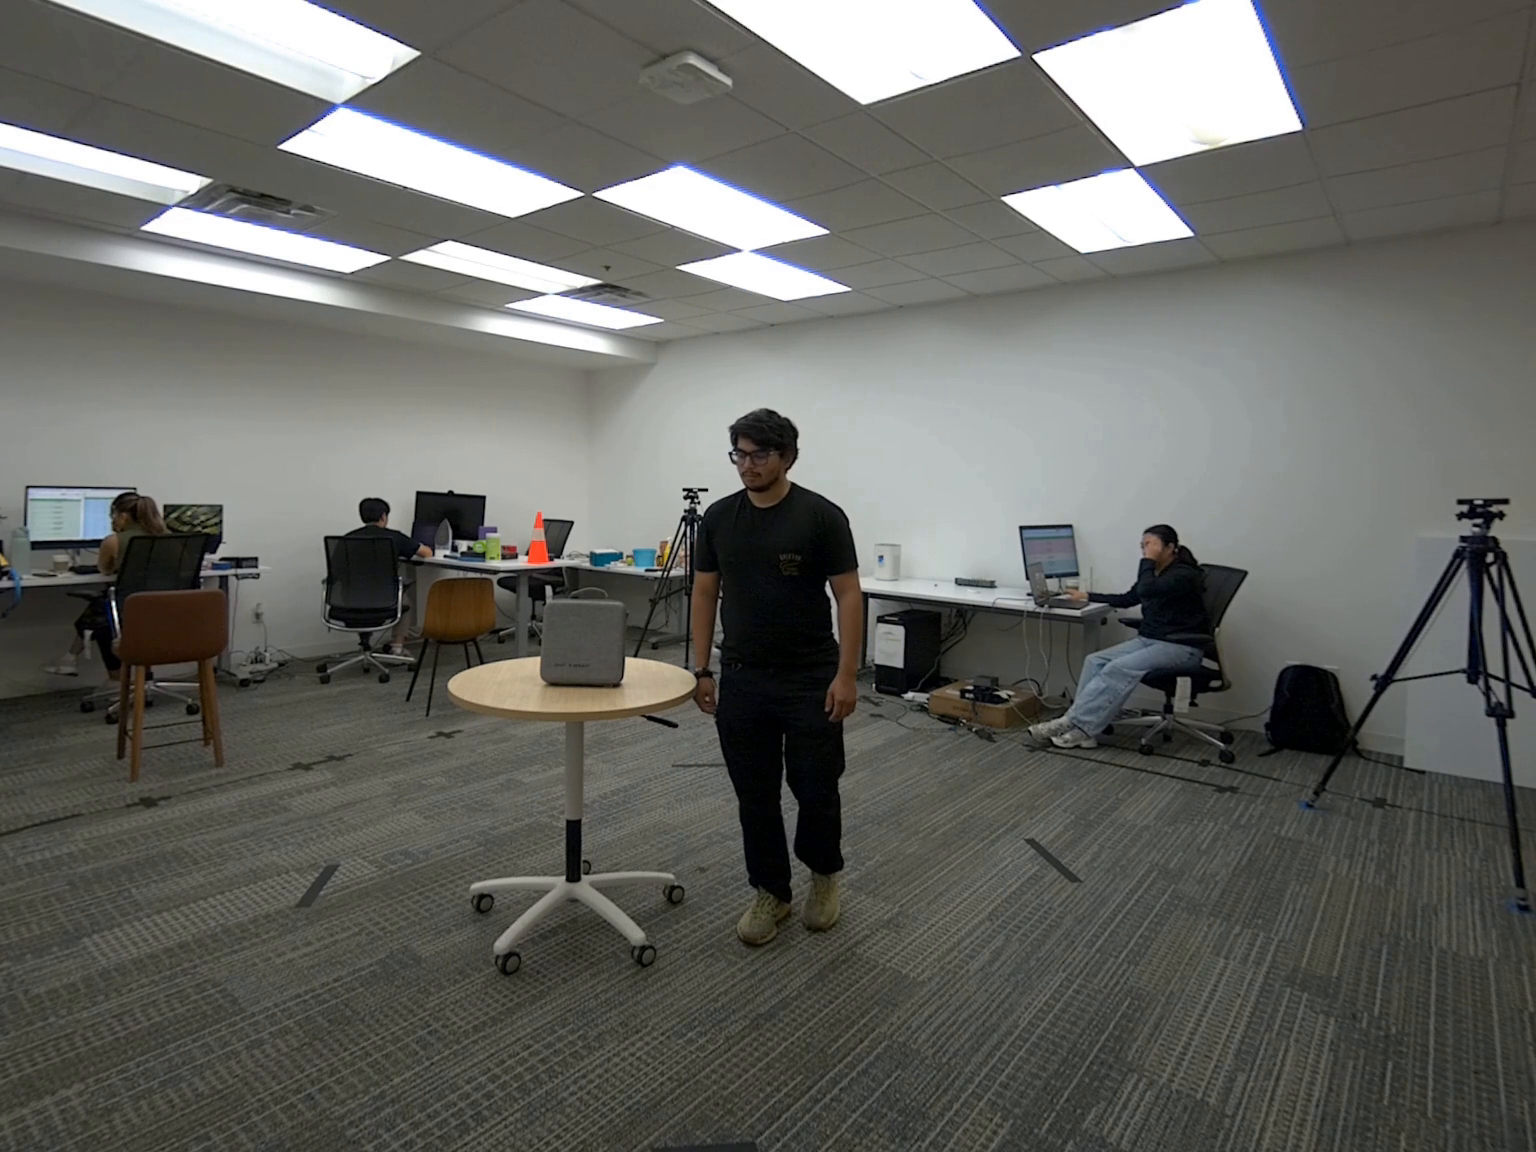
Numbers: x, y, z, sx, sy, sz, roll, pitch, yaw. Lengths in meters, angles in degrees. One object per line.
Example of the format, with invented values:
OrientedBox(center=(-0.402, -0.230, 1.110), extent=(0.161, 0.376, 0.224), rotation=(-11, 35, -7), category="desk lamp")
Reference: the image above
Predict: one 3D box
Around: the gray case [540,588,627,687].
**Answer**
OrientedBox(center=(-0.579, 0.200, 2.625), extent=(0.257, 0.262, 0.104), rotation=(2, -6, 0), category="gray case")
